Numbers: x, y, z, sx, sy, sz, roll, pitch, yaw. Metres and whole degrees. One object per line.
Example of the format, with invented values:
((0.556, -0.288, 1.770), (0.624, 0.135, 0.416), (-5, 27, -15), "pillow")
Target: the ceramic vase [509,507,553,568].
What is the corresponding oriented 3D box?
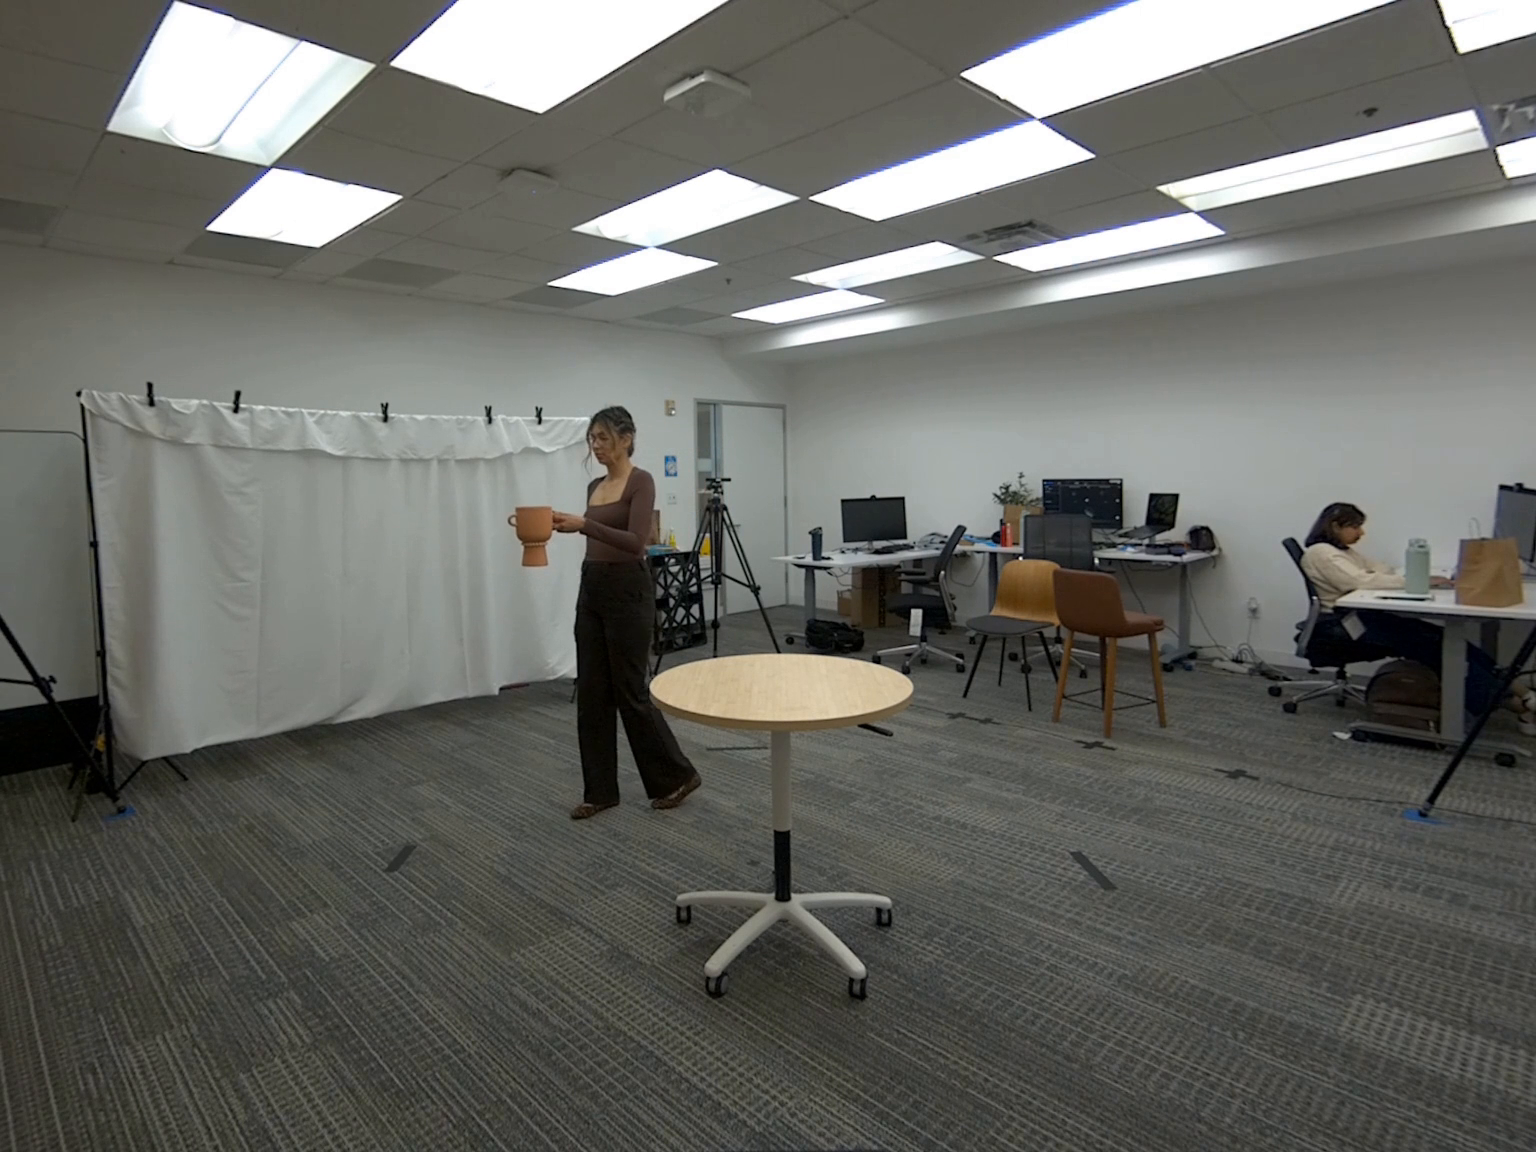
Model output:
((-0.877, -0.146, 3.195), (0.160, 0.219, 0.134), (0, 3, 5), "ceramic vase")
